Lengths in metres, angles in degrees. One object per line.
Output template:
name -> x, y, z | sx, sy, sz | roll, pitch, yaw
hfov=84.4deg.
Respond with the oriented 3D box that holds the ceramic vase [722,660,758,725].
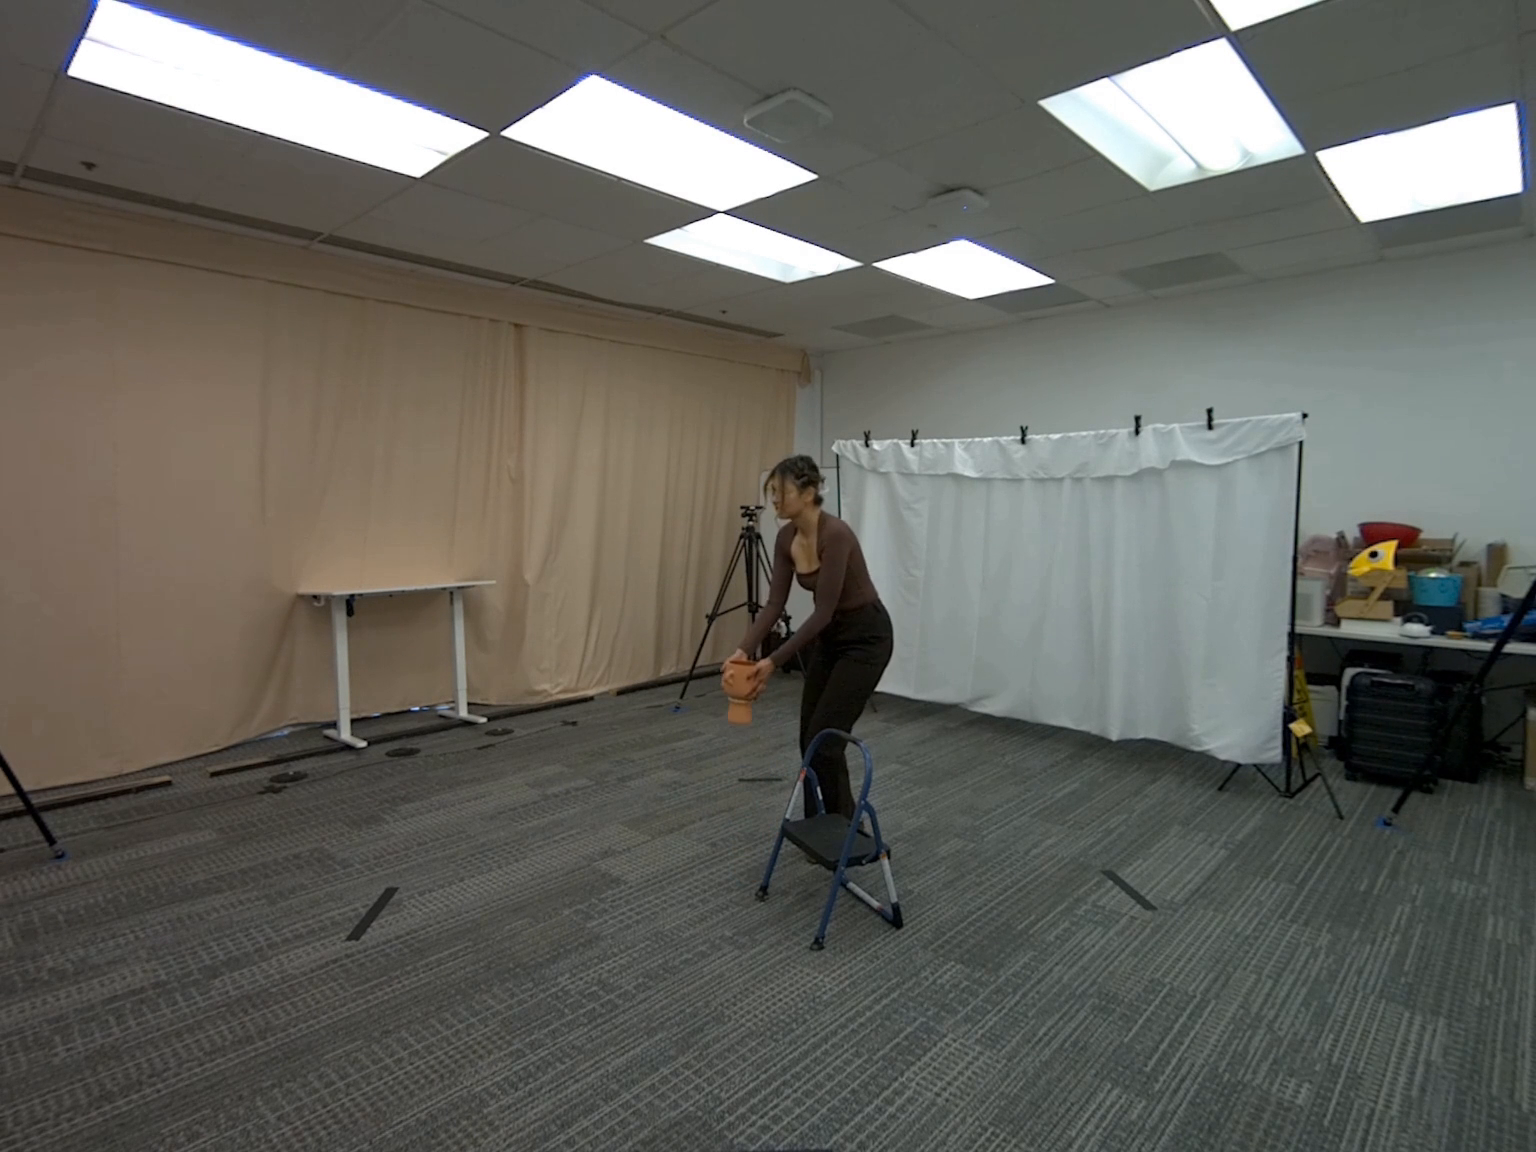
ceramic vase -> -0.095, 0.448, 3.197 | 0.157, 0.219, 0.136 | 4, 2, -10
